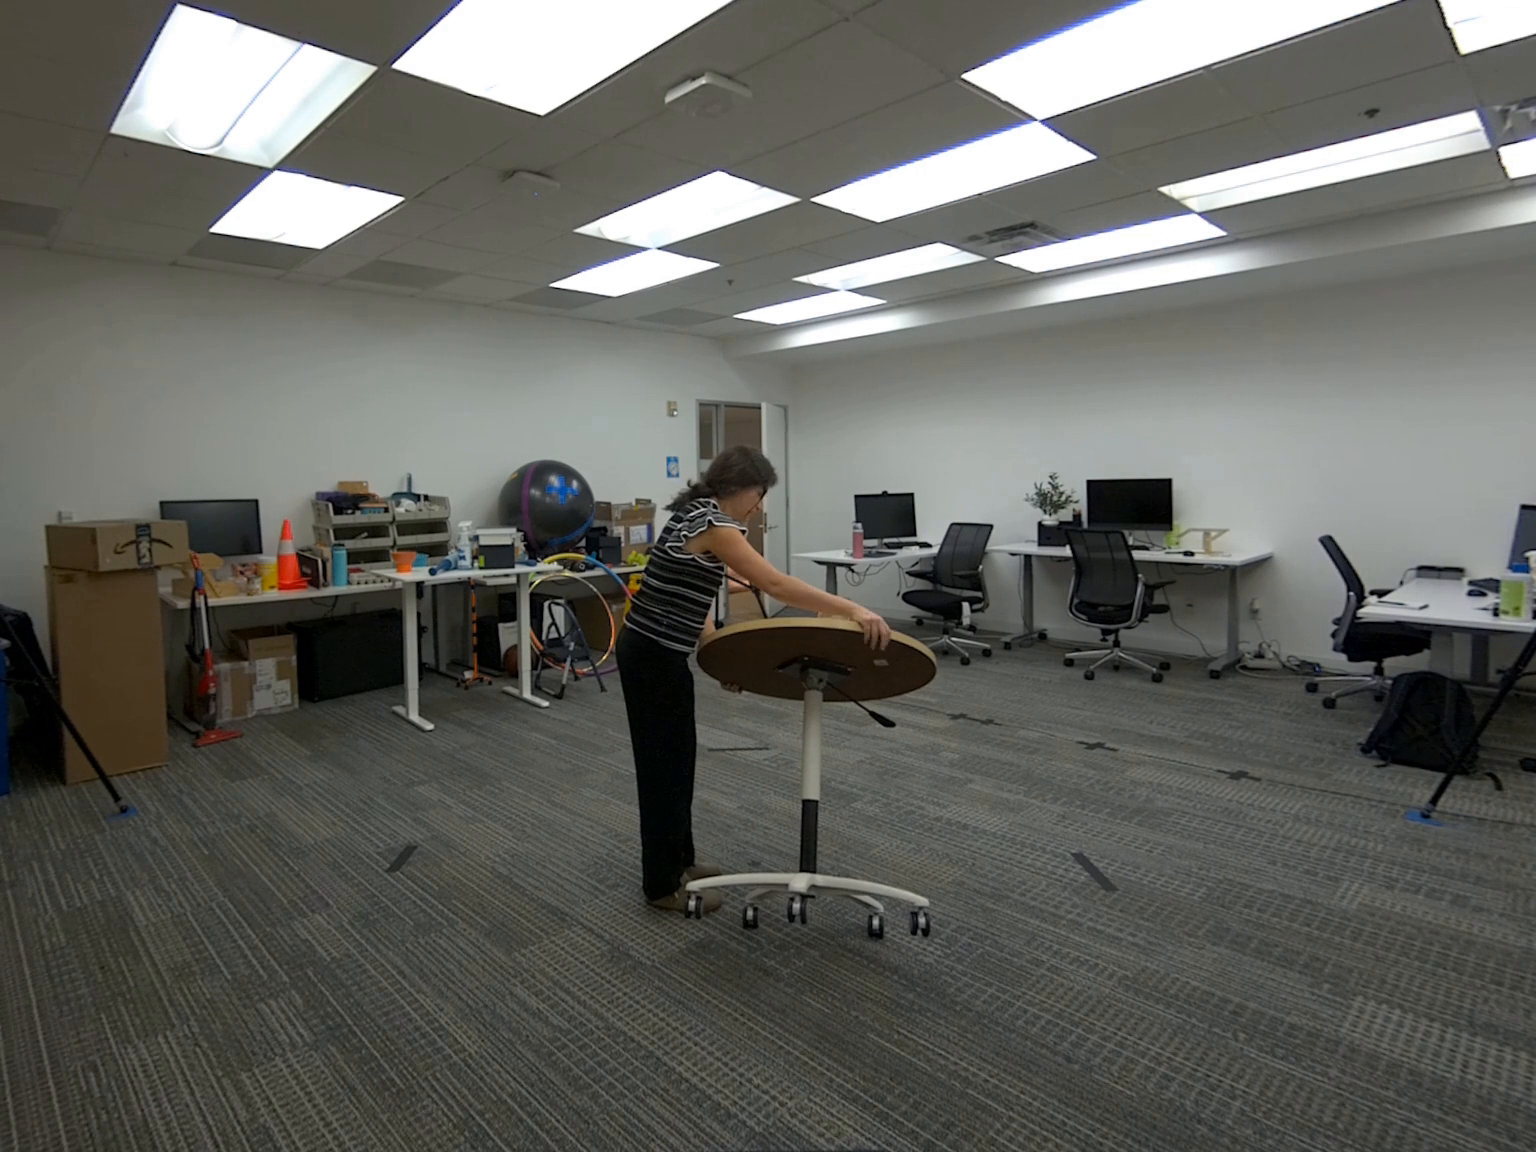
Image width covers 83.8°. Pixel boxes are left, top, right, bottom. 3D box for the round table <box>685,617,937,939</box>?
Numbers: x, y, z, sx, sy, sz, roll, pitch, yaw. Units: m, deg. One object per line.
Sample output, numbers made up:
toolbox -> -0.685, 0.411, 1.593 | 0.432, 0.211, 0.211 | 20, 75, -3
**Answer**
round table -> 0.136, 0.637, 2.578 | 0.765, 0.809, 0.748 | 4, -25, 0
